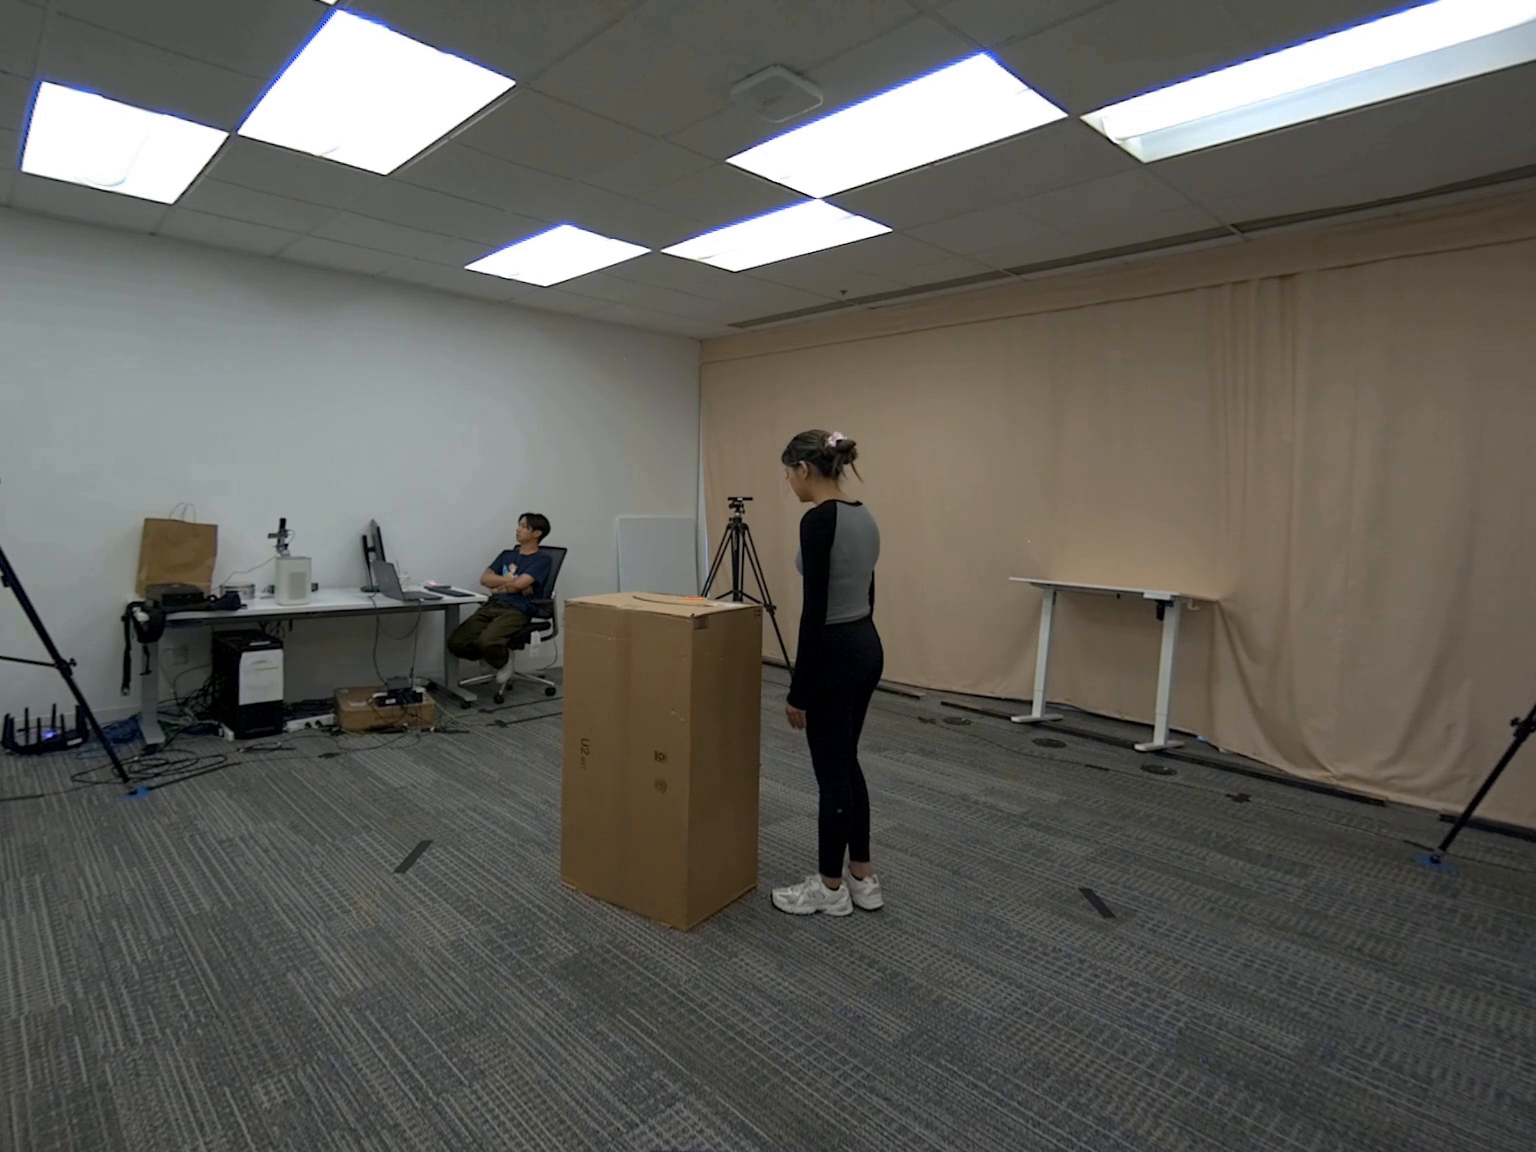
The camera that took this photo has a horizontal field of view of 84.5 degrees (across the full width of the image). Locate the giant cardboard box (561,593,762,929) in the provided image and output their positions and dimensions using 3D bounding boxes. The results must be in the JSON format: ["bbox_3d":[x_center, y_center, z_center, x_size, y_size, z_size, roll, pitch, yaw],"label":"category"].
[{"bbox_3d":[-0.383,0.602,3.001,0.591,1.023,0.417,4,4,34],"label":"giant cardboard box"}]
